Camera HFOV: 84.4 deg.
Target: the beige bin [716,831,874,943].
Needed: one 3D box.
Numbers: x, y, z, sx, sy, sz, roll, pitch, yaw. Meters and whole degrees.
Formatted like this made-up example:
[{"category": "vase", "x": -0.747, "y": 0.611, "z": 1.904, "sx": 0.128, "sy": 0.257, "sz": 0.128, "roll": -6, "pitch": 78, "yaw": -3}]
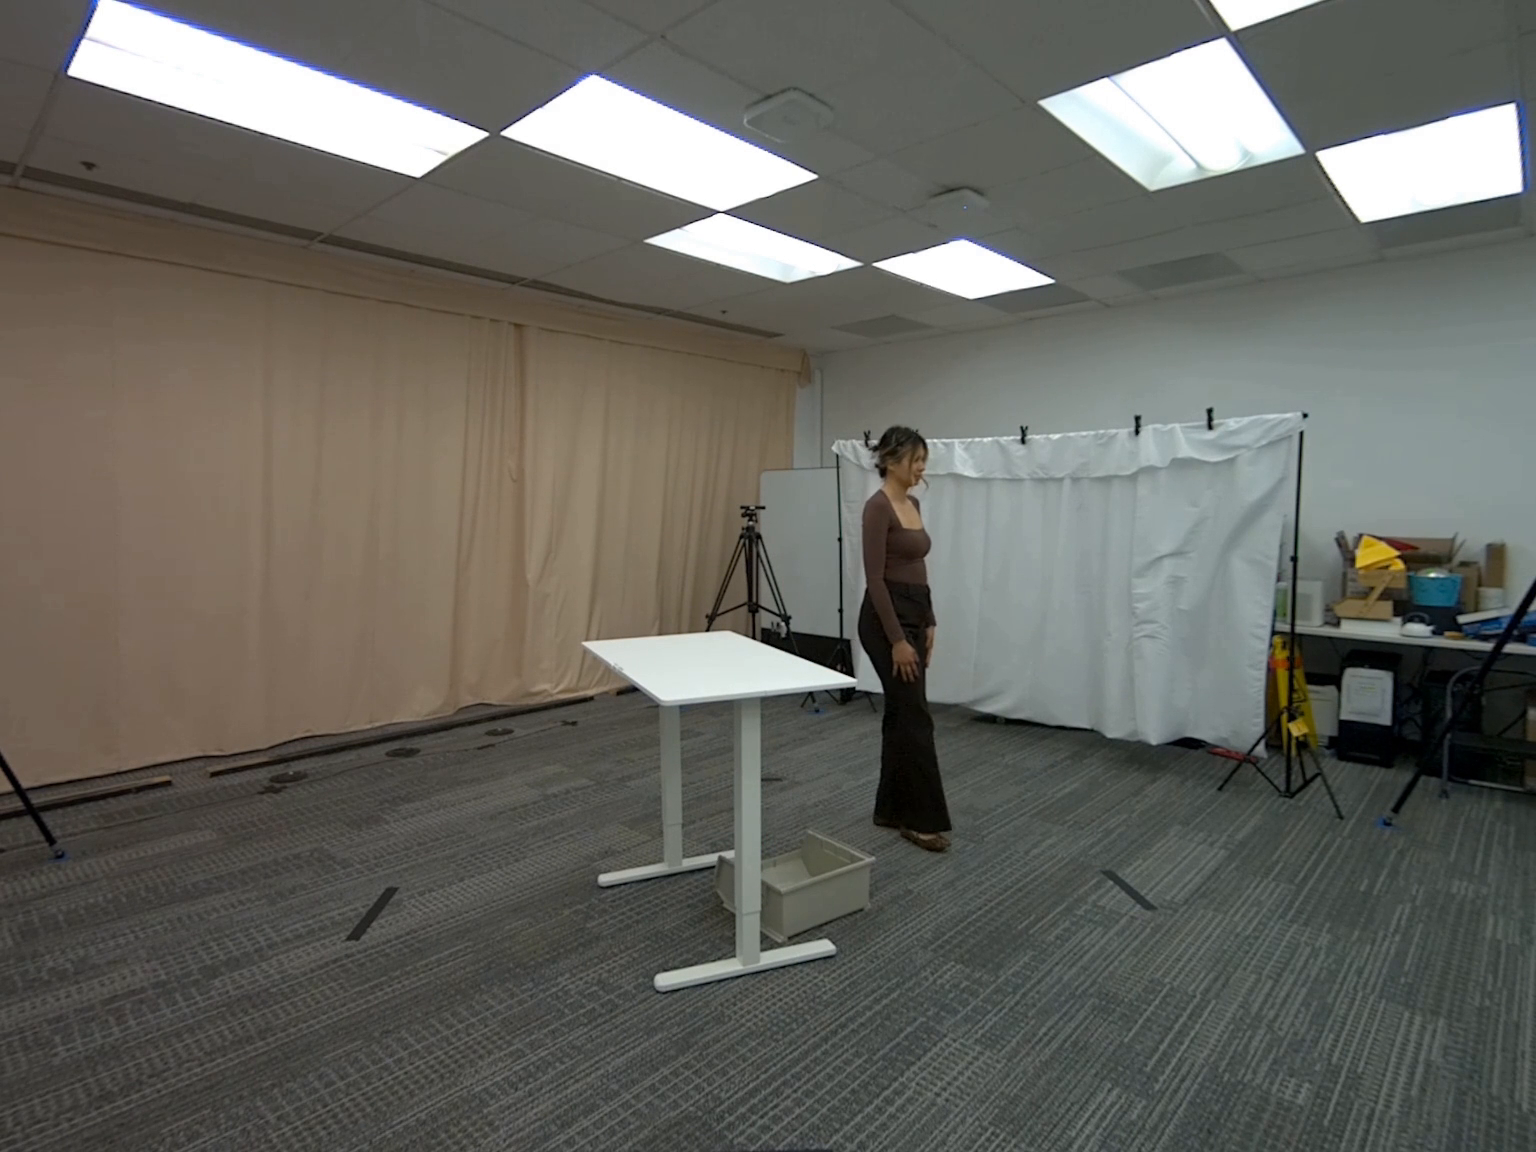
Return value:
[{"category": "beige bin", "x": 0.092, "y": 1.062, "z": 2.934, "sx": 0.410, "sy": 0.188, "sz": 0.390, "roll": -3, "pitch": 6, "yaw": -38}]
